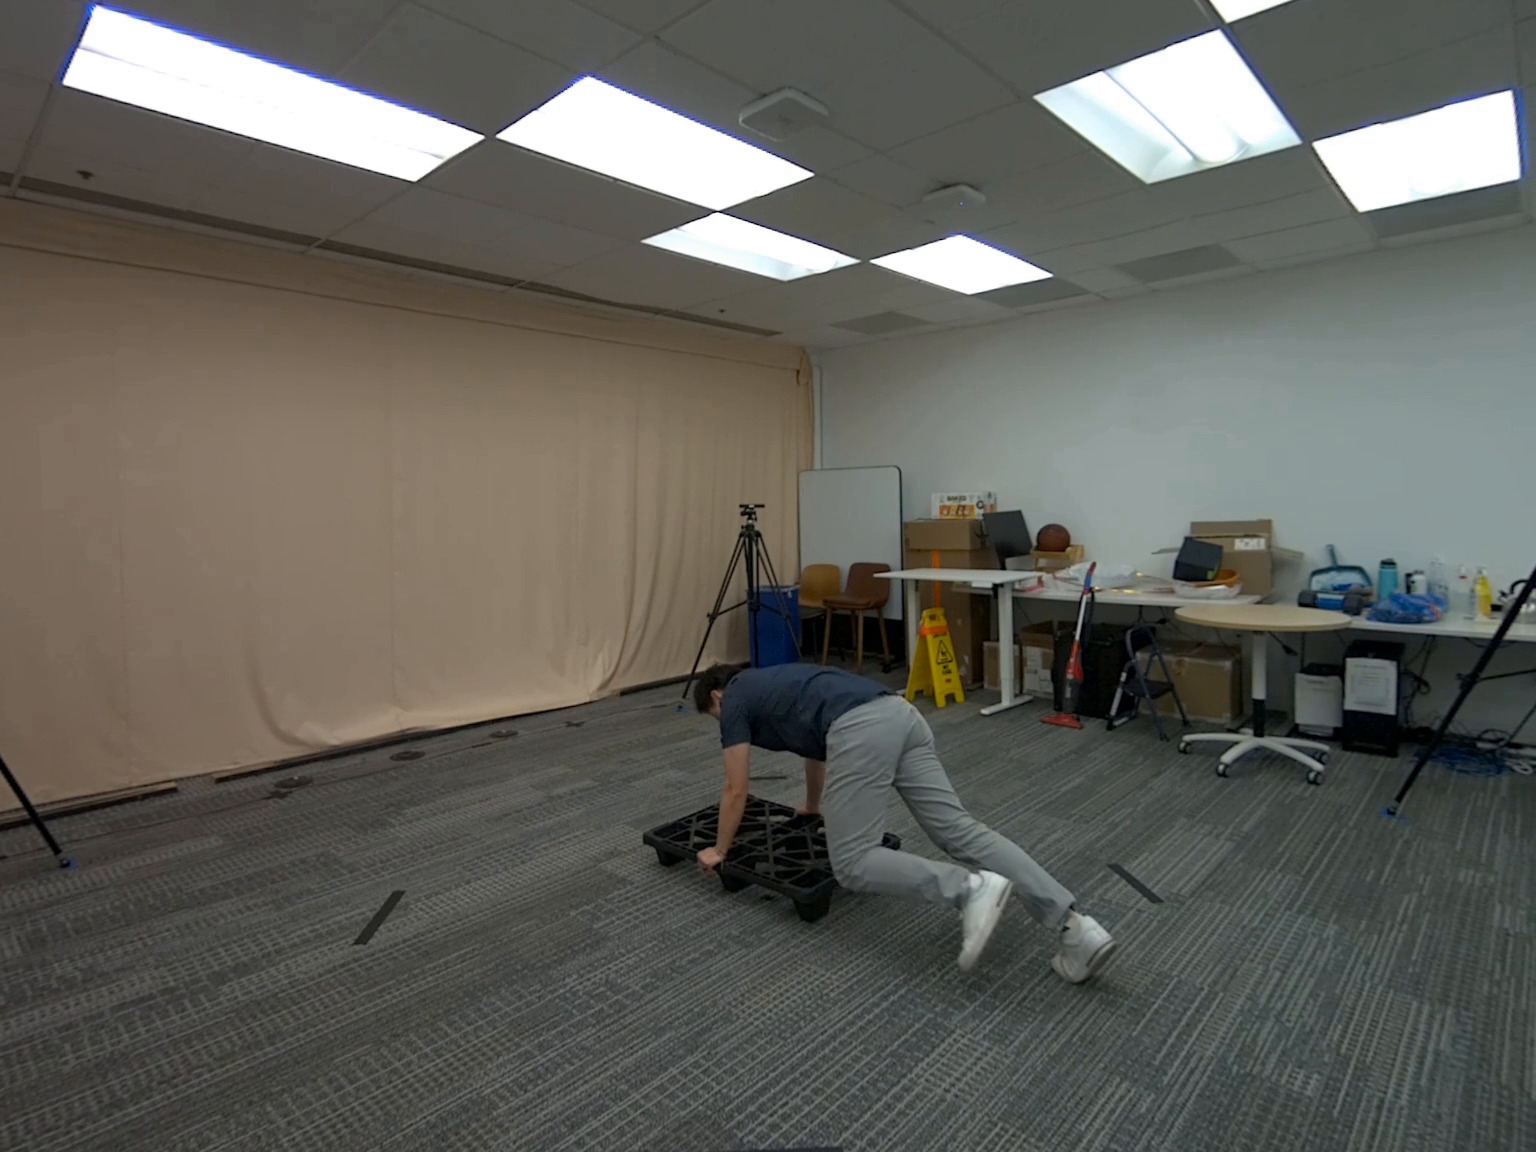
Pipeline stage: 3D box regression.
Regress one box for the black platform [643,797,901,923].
[{"bbox_3d":[0.008,1.053,3.208,0.832,0.143,0.587,3,6,41],"label":"black platform"}]
